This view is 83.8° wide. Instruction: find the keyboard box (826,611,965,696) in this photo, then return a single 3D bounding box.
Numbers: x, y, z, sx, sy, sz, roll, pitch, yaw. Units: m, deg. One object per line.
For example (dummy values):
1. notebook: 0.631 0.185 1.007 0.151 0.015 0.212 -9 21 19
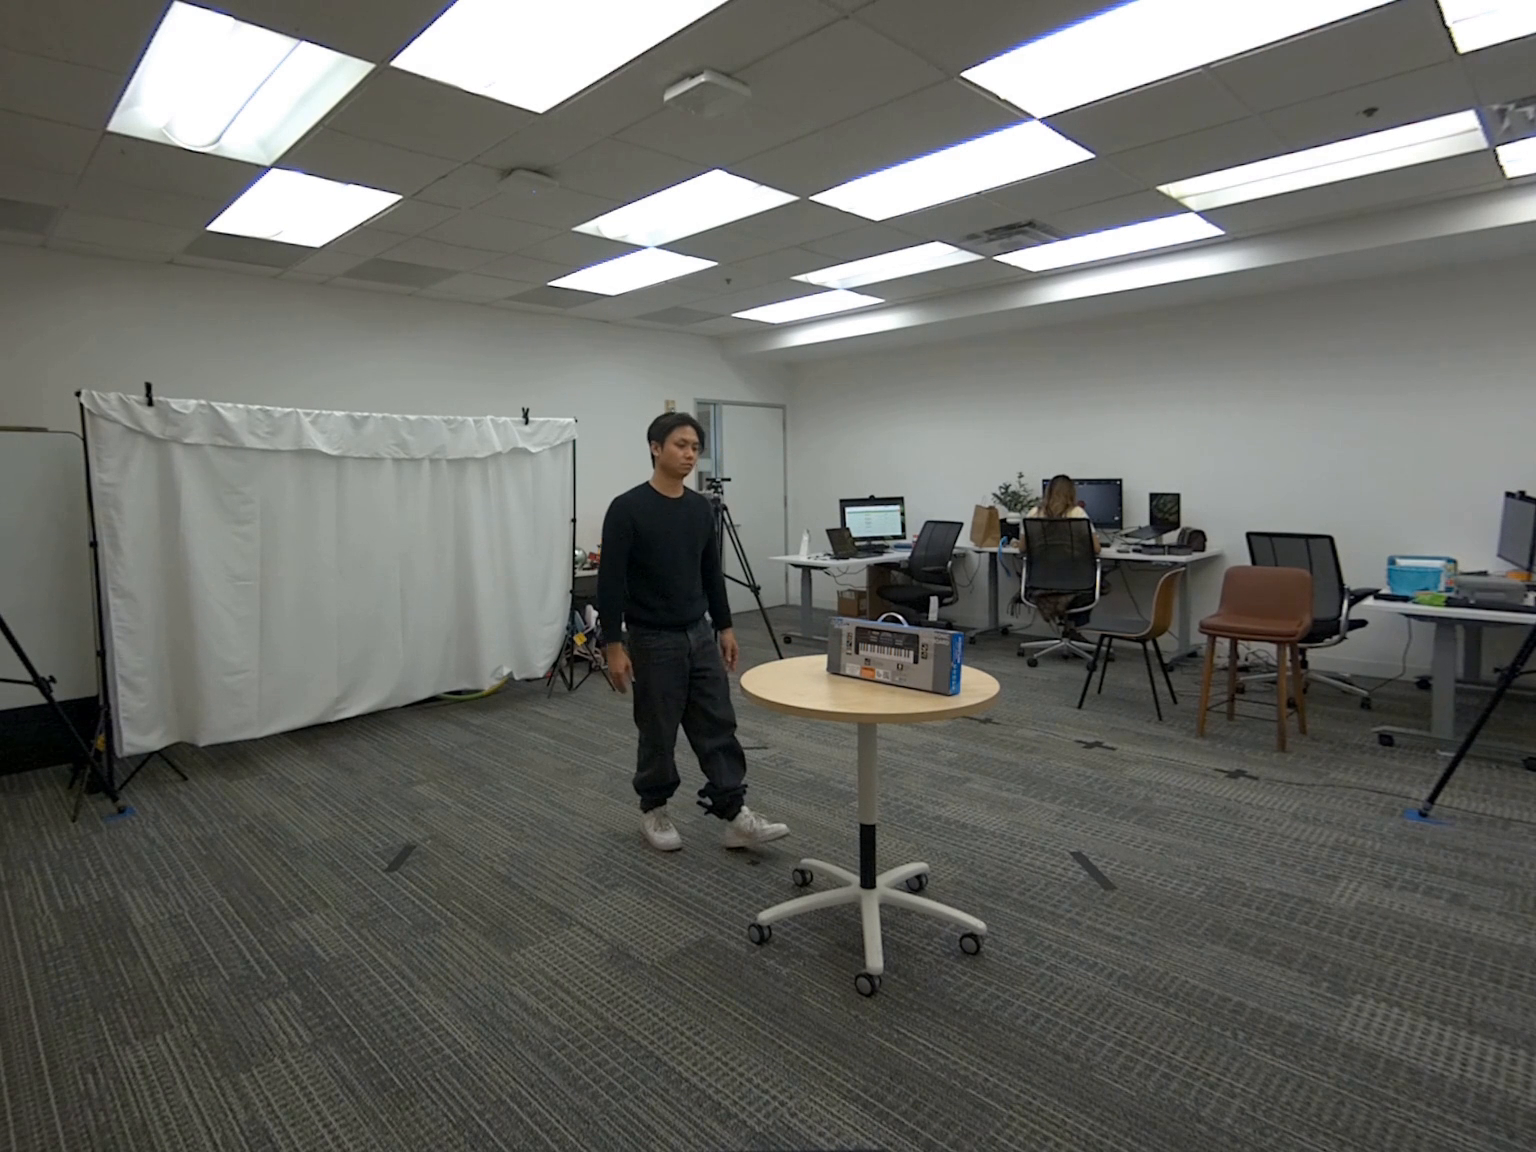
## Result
1. keyboard box: 0.369 0.231 2.530 0.450 0.176 0.057 5 2 45
